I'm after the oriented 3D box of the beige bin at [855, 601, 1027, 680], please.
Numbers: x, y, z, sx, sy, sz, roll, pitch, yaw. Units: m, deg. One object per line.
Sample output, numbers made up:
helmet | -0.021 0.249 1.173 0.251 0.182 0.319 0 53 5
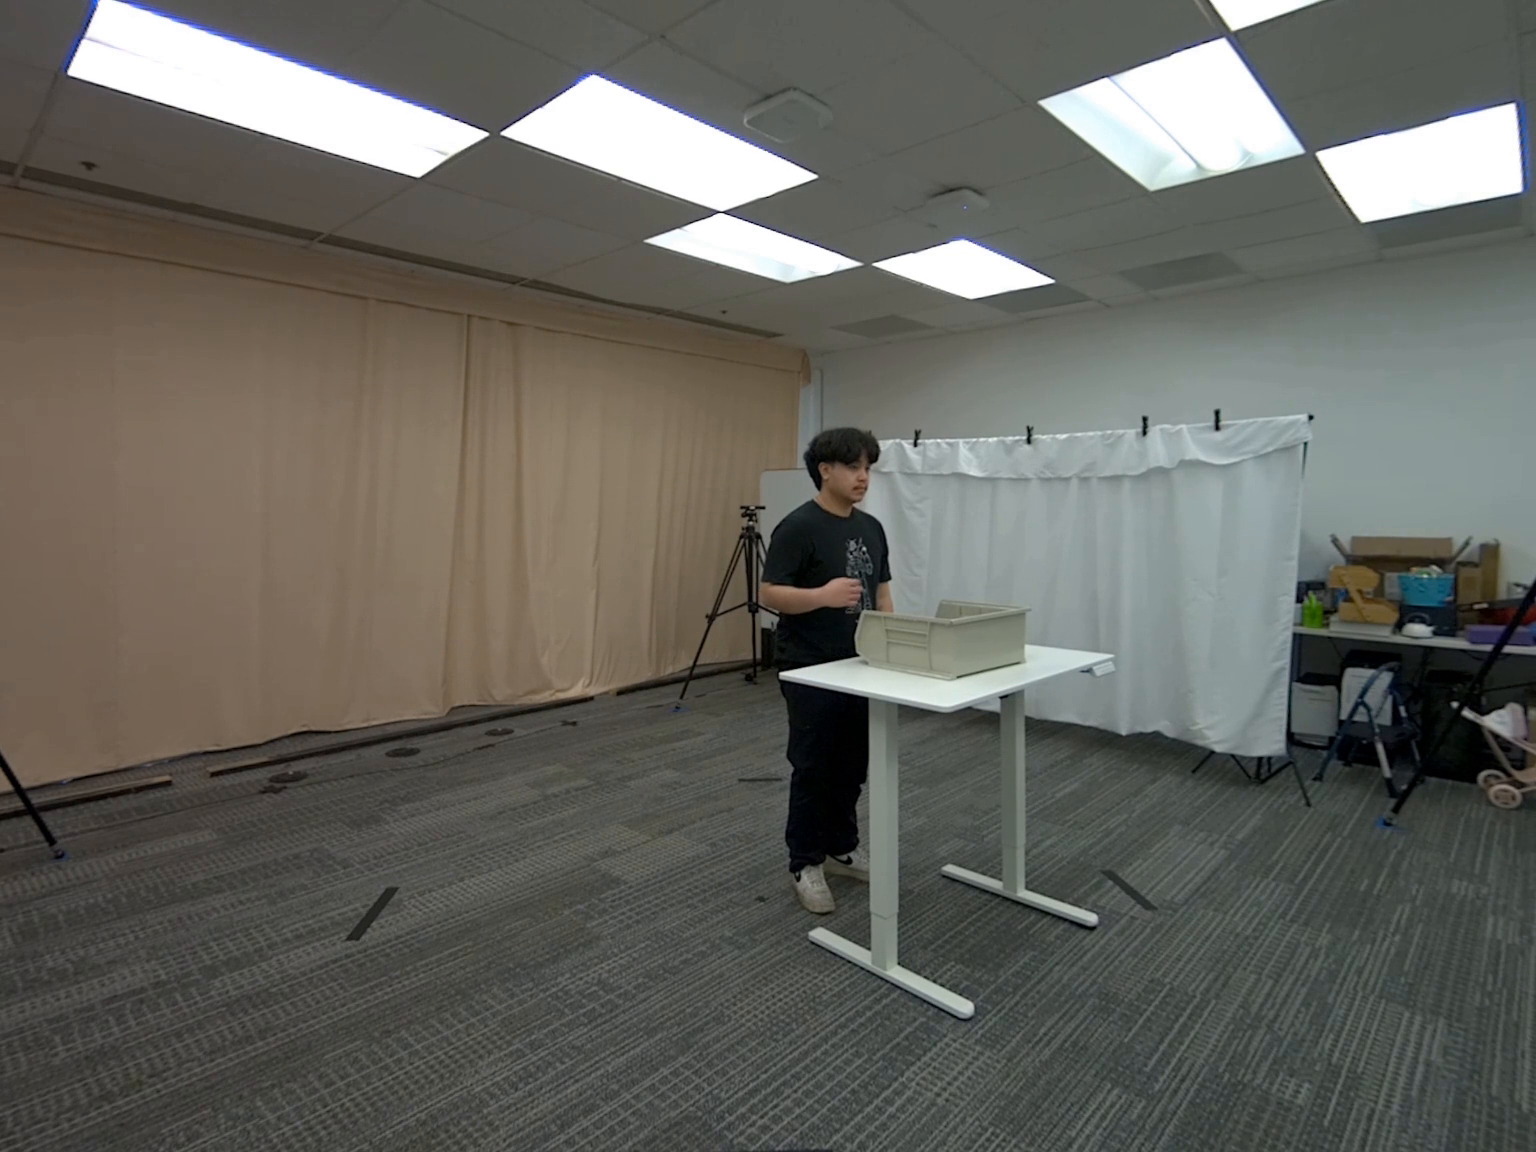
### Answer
beige bin | 0.559 0.195 2.708 0.409 0.188 0.390 -3 6 -40
